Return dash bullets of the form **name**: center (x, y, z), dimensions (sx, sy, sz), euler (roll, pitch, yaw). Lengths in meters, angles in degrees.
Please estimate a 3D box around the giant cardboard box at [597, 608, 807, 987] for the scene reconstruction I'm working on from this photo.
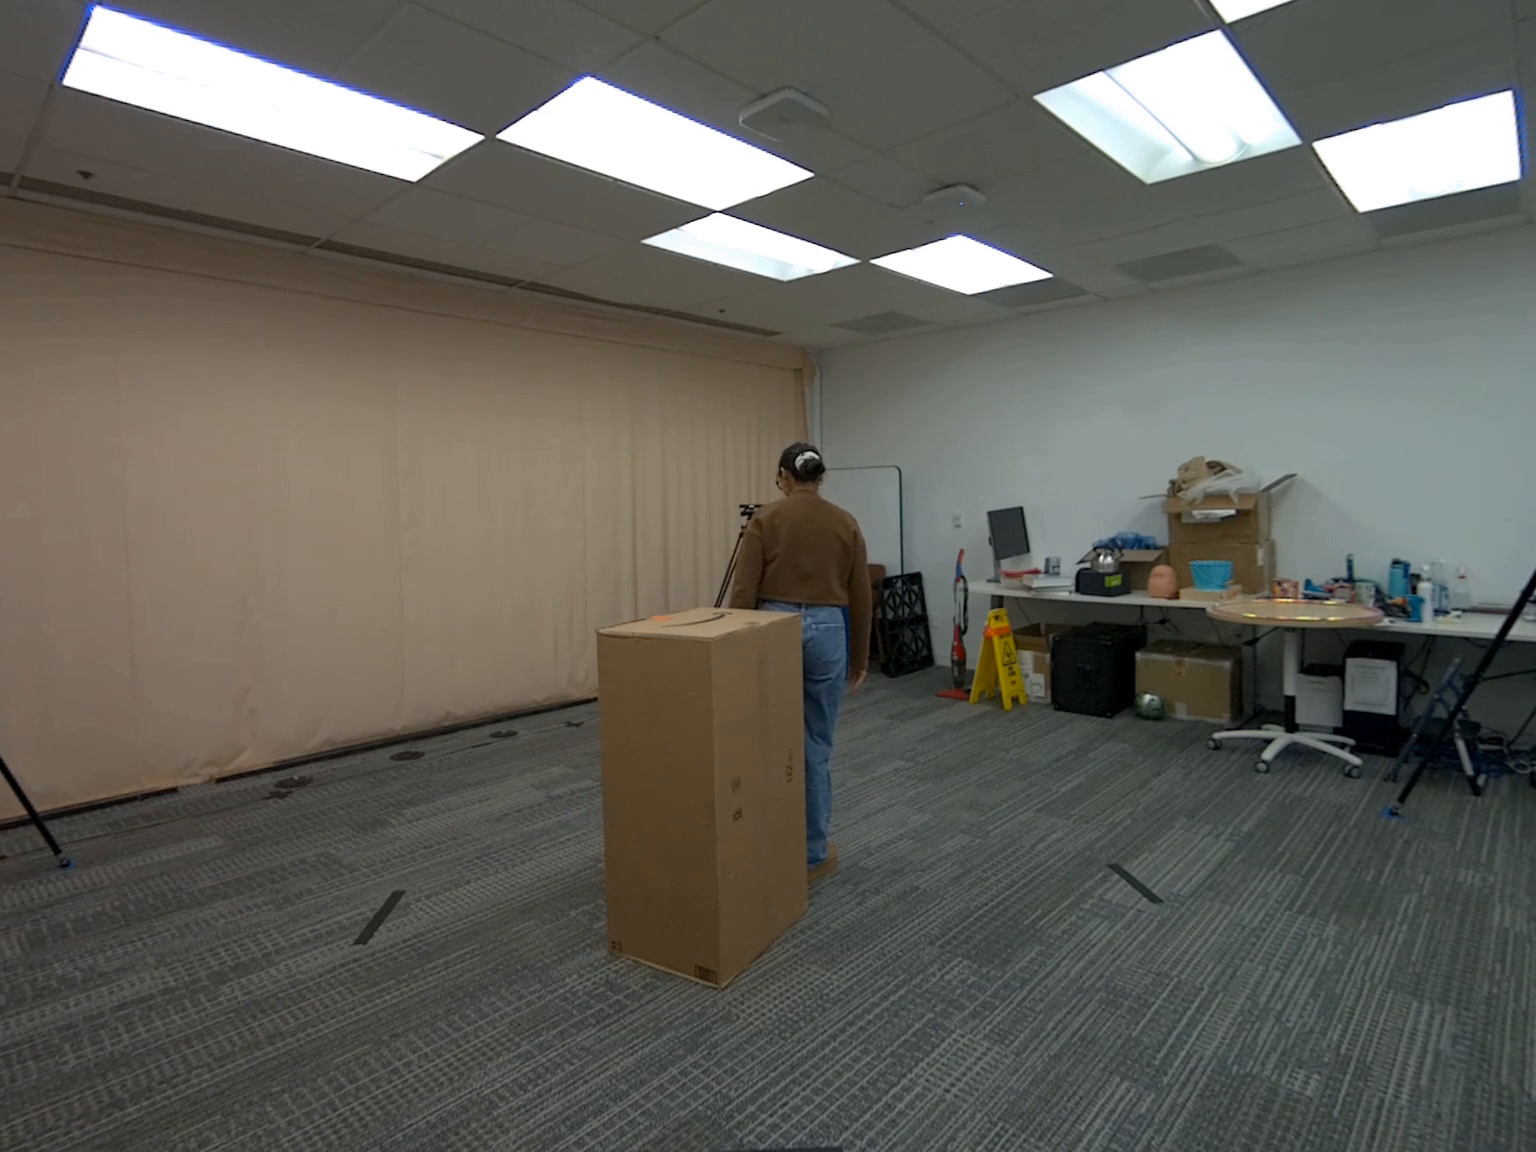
- **giant cardboard box**: center (-0.200, 0.659, 2.736), dimensions (0.459, 1.025, 0.569), euler (1, 4, 29)
